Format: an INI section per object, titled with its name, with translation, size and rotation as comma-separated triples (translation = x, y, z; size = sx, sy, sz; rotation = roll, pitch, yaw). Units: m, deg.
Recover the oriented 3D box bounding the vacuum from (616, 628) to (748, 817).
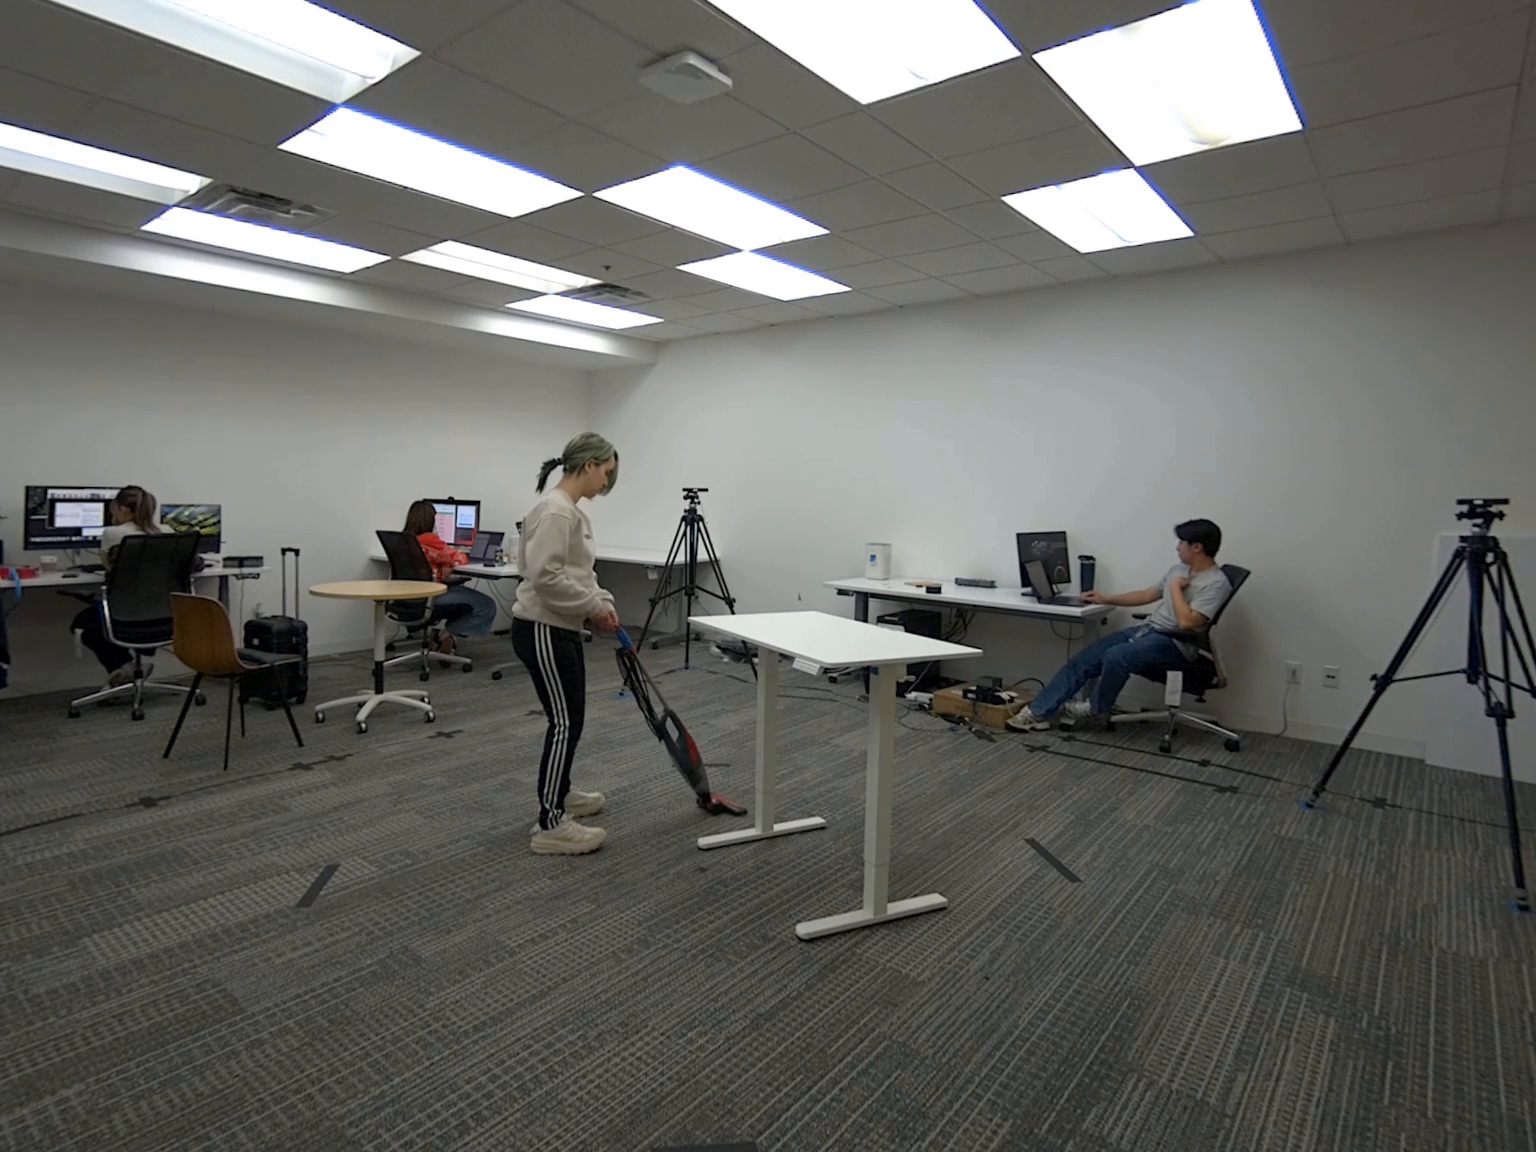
[vacuum]
translation = -0.442, 0.589, 3.543
size = 0.143, 1.022, 0.260
rotation = -41, 24, -30
